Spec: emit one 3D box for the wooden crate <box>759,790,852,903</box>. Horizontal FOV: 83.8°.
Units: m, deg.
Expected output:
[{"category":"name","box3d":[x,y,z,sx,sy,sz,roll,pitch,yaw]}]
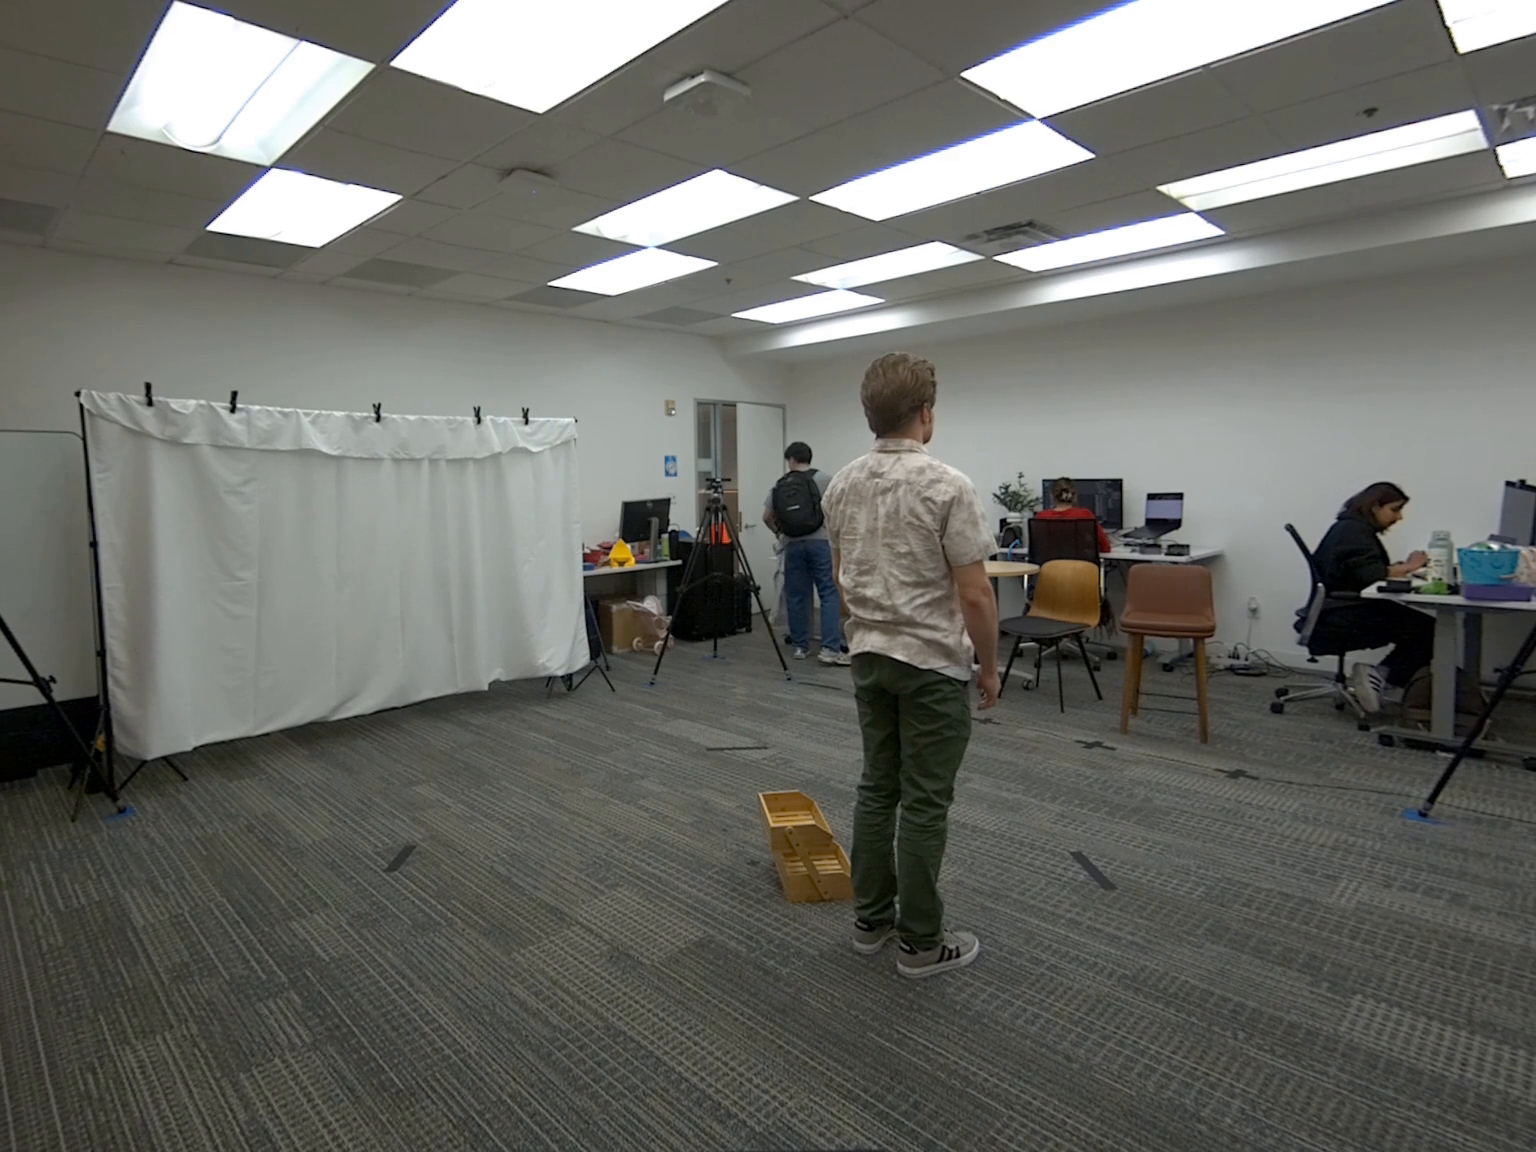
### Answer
[{"category":"wooden crate","box3d":[0.149,0.923,2.956,0.300,0.272,0.328,-1,5,-7]}]
